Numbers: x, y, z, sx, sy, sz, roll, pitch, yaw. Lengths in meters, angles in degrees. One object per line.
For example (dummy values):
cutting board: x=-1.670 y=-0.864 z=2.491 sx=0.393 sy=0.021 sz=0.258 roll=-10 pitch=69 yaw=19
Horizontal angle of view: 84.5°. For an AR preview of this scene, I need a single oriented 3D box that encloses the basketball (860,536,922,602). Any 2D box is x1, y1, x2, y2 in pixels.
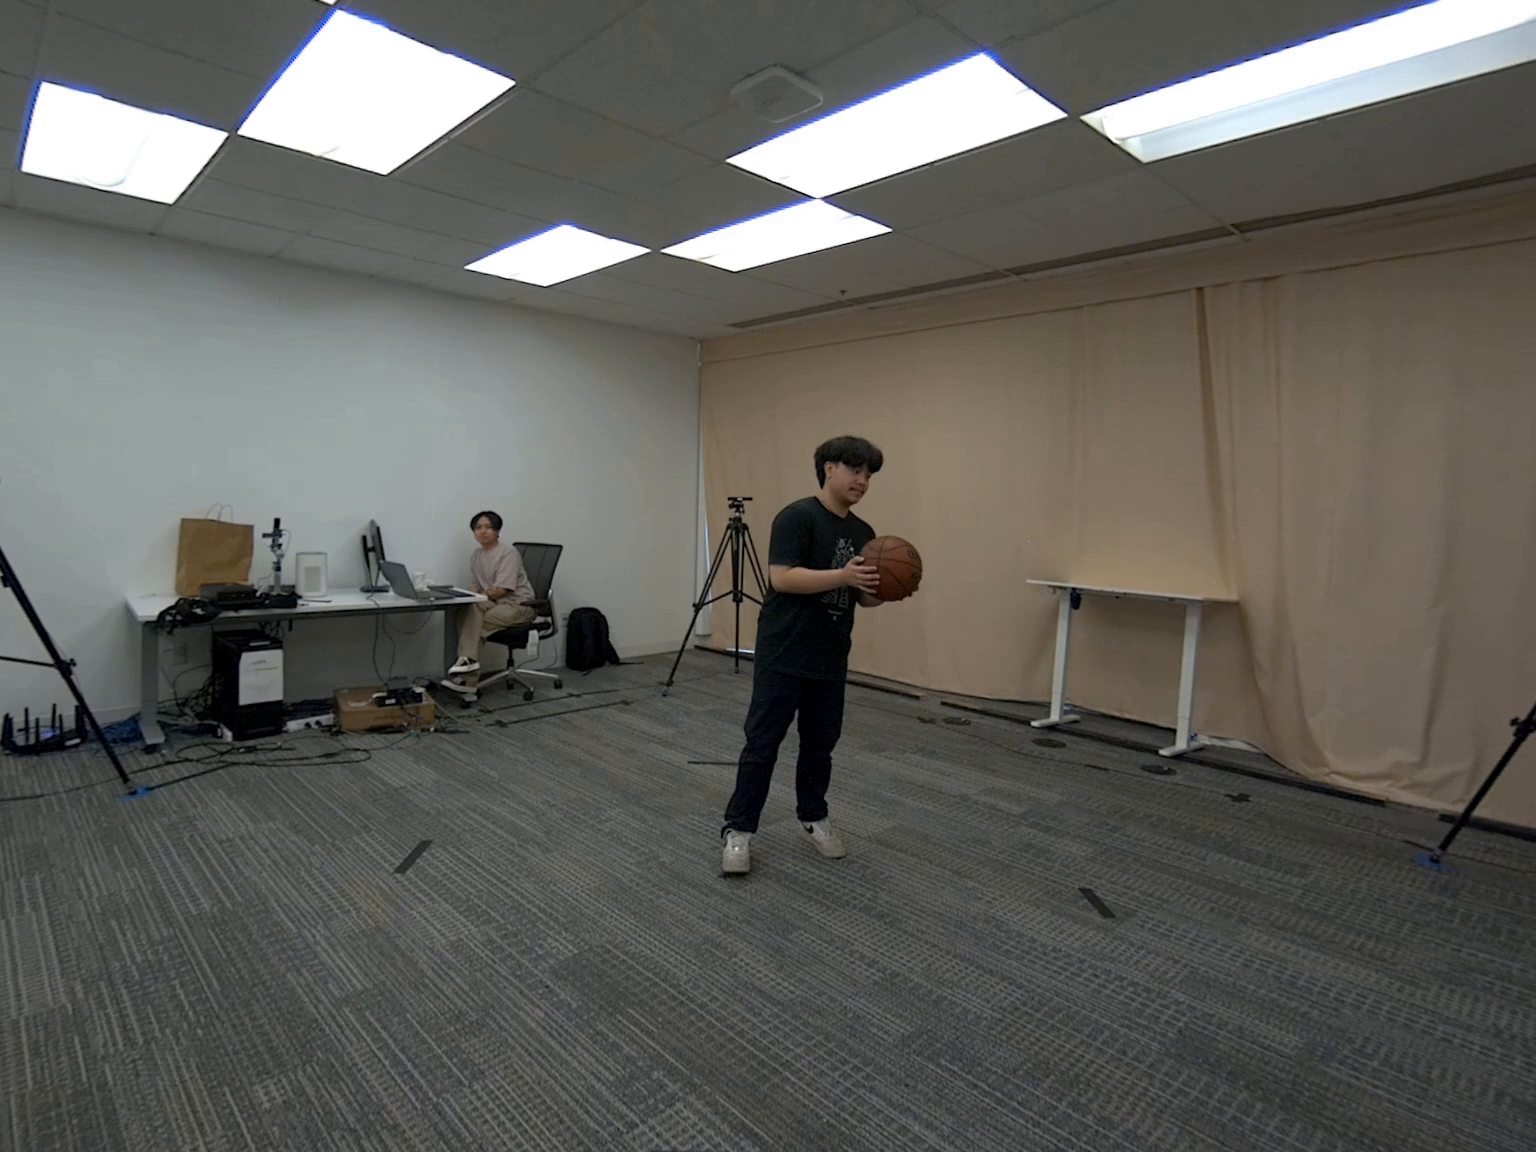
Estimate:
basketball: x=0.421 y=-0.028 z=3.031 sx=0.236 sy=0.235 sz=0.237 roll=1 pitch=4 yaw=-1
